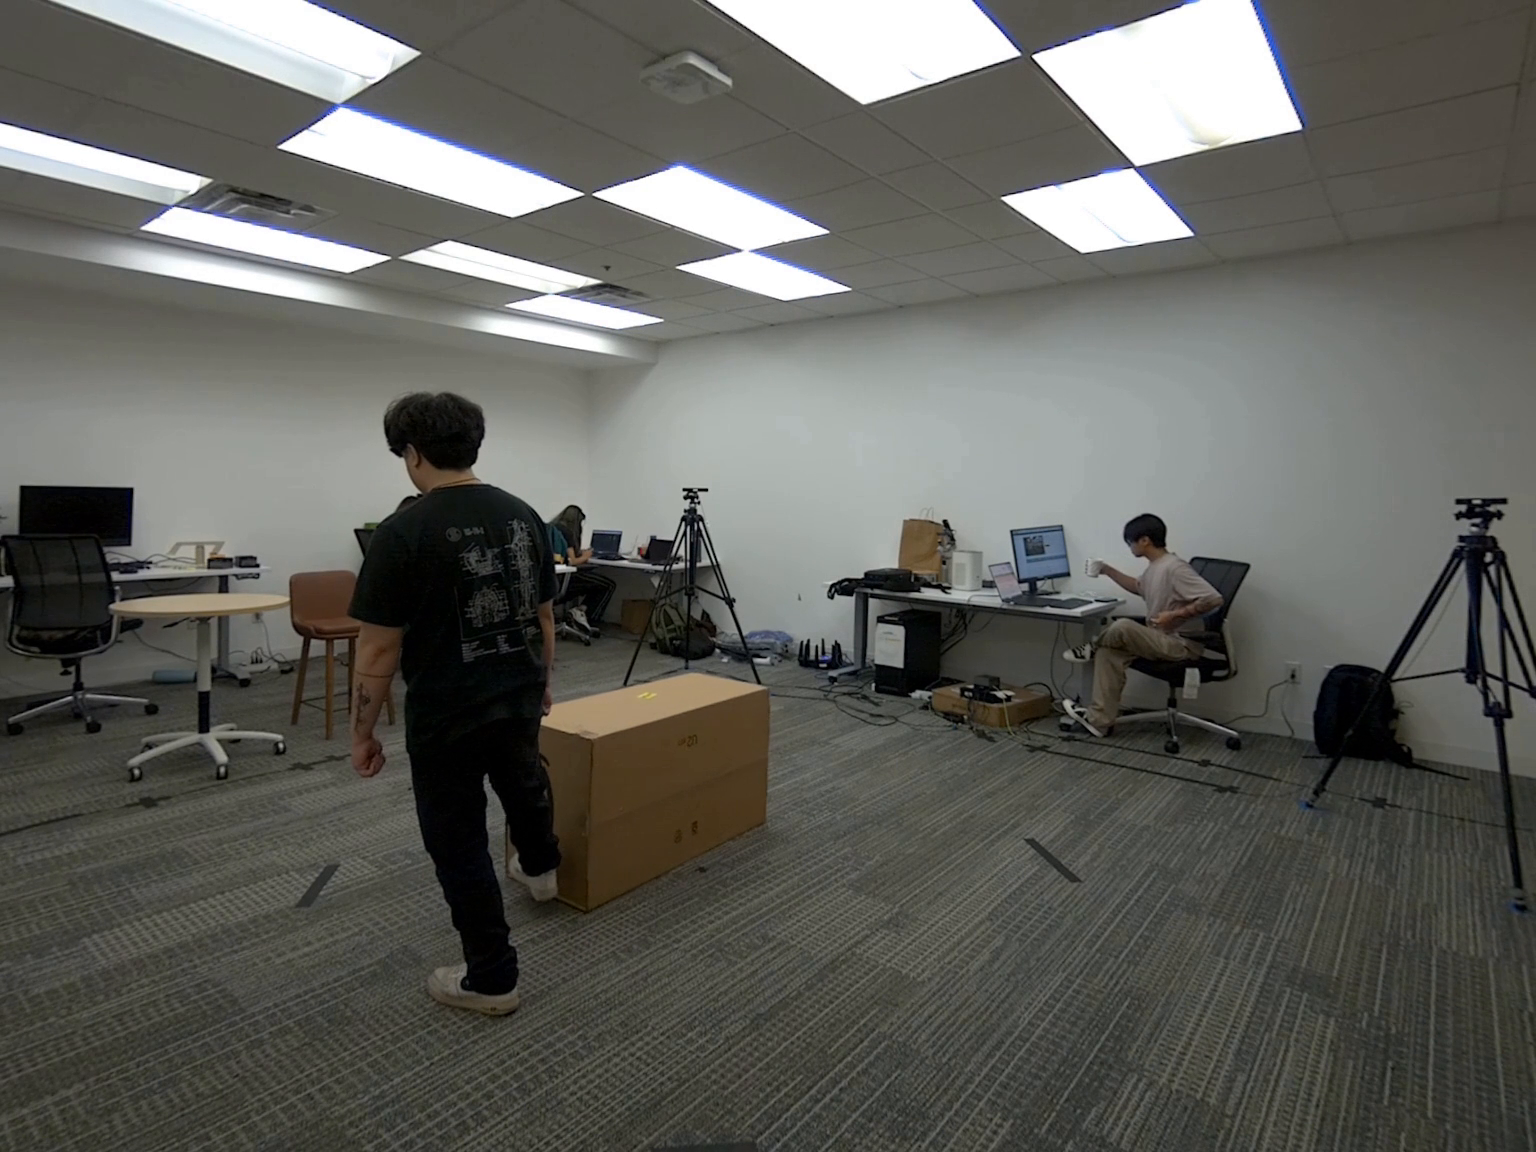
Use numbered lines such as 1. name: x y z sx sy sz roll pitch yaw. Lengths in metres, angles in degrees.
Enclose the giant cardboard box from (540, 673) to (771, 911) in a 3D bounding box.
1. giant cardboard box: -0.471 0.762 3.286 0.461 0.582 0.997 3 4 35
